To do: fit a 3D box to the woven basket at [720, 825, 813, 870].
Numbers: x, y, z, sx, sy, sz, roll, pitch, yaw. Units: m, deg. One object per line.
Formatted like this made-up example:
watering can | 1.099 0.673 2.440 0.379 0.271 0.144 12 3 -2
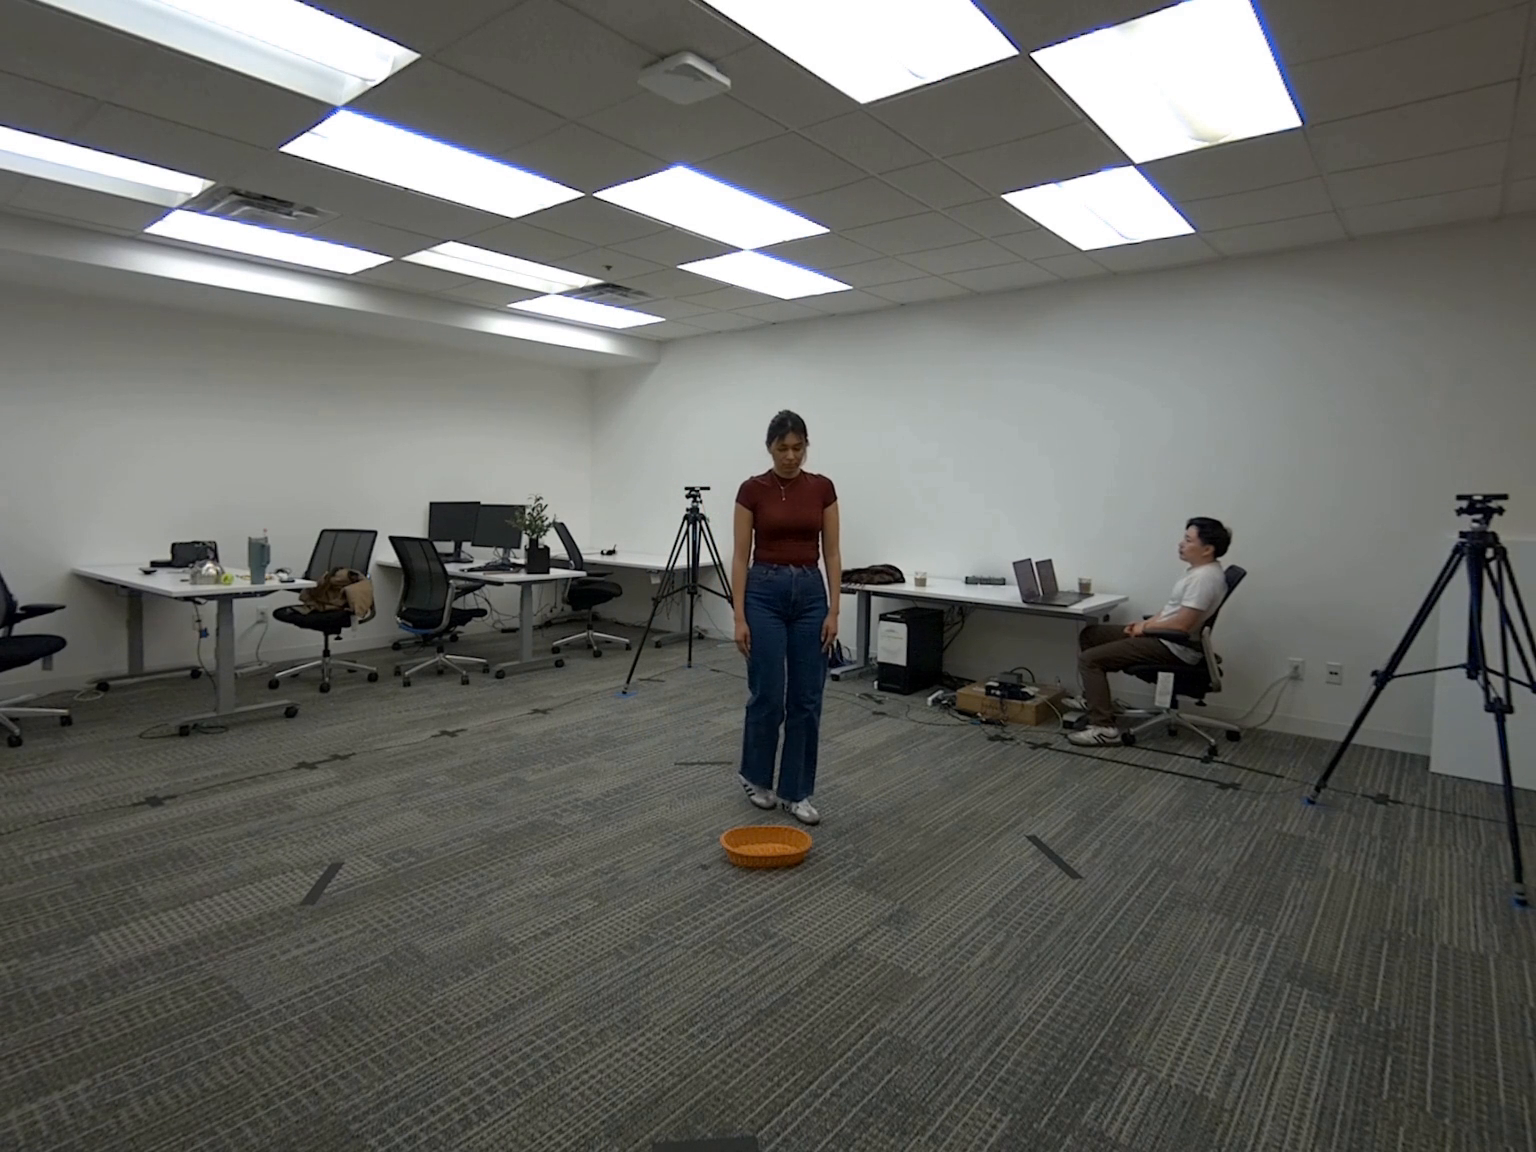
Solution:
woven basket | -0.018 1.019 3.207 0.348 0.073 0.256 0 7 -7
